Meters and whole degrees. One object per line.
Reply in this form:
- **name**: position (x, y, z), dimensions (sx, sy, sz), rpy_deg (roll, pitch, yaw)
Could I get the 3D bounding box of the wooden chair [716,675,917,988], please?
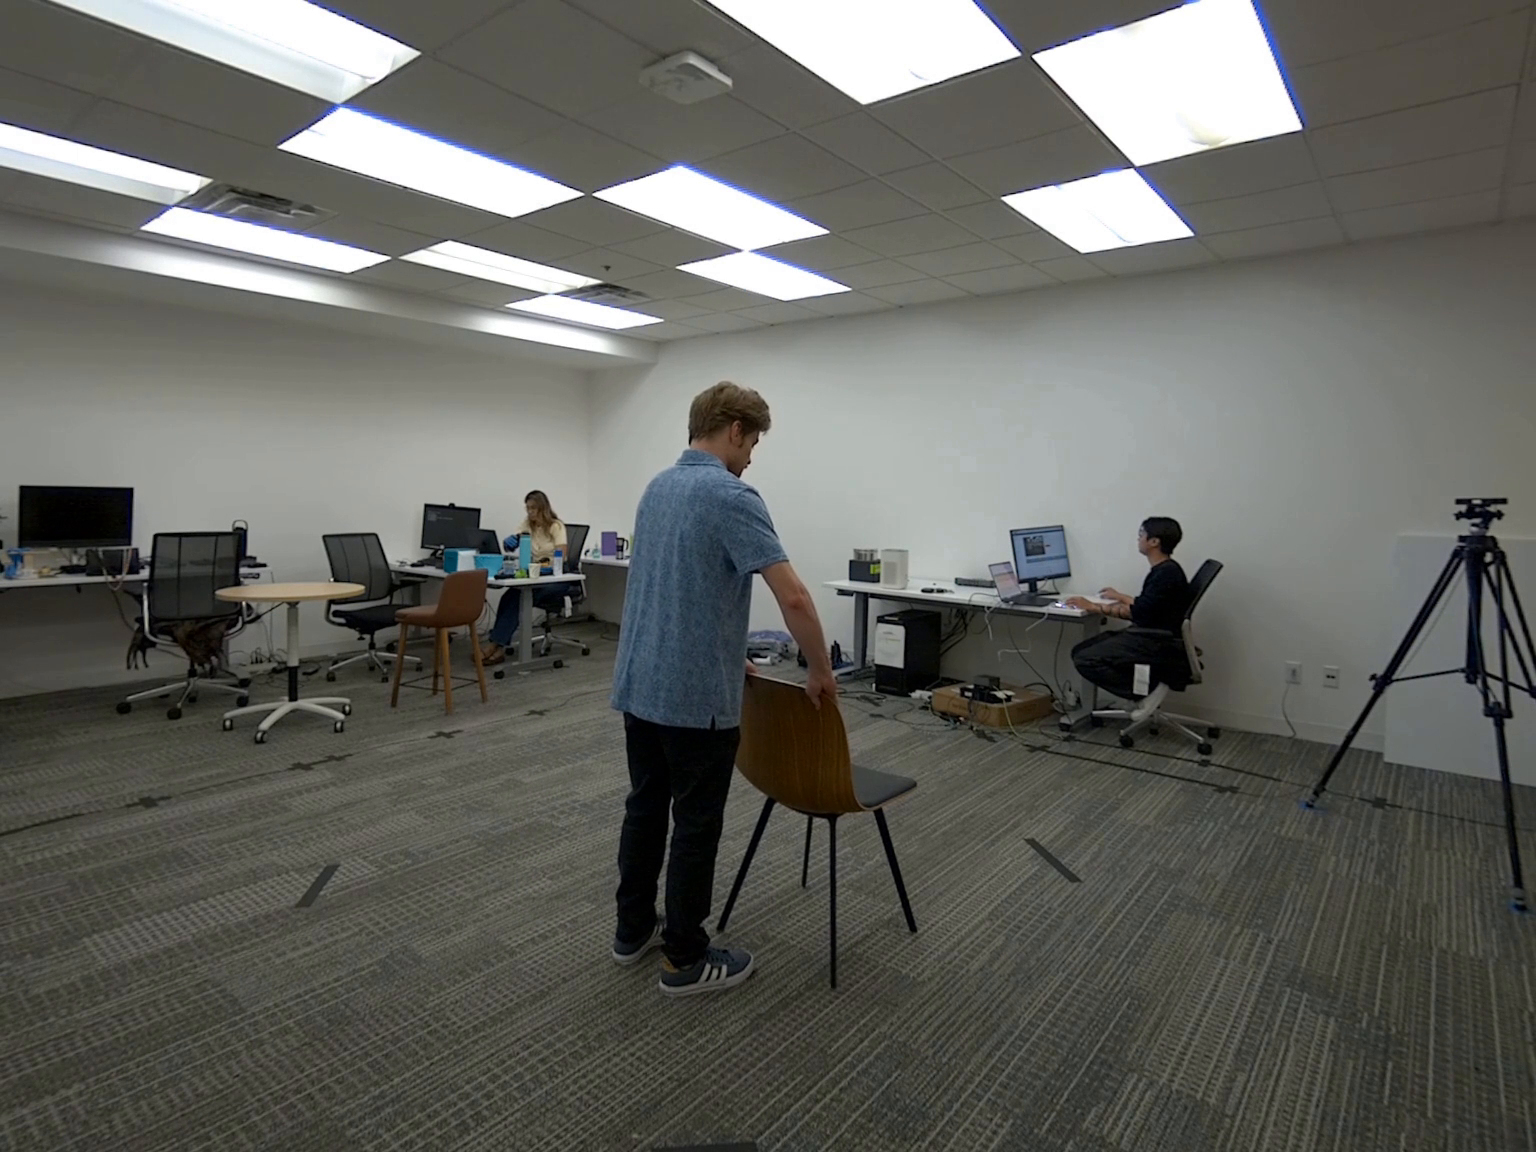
- **wooden chair**: position (0.164, 0.690, 2.673), dimensions (0.494, 0.872, 0.509), rpy_deg (4, 8, 41)
